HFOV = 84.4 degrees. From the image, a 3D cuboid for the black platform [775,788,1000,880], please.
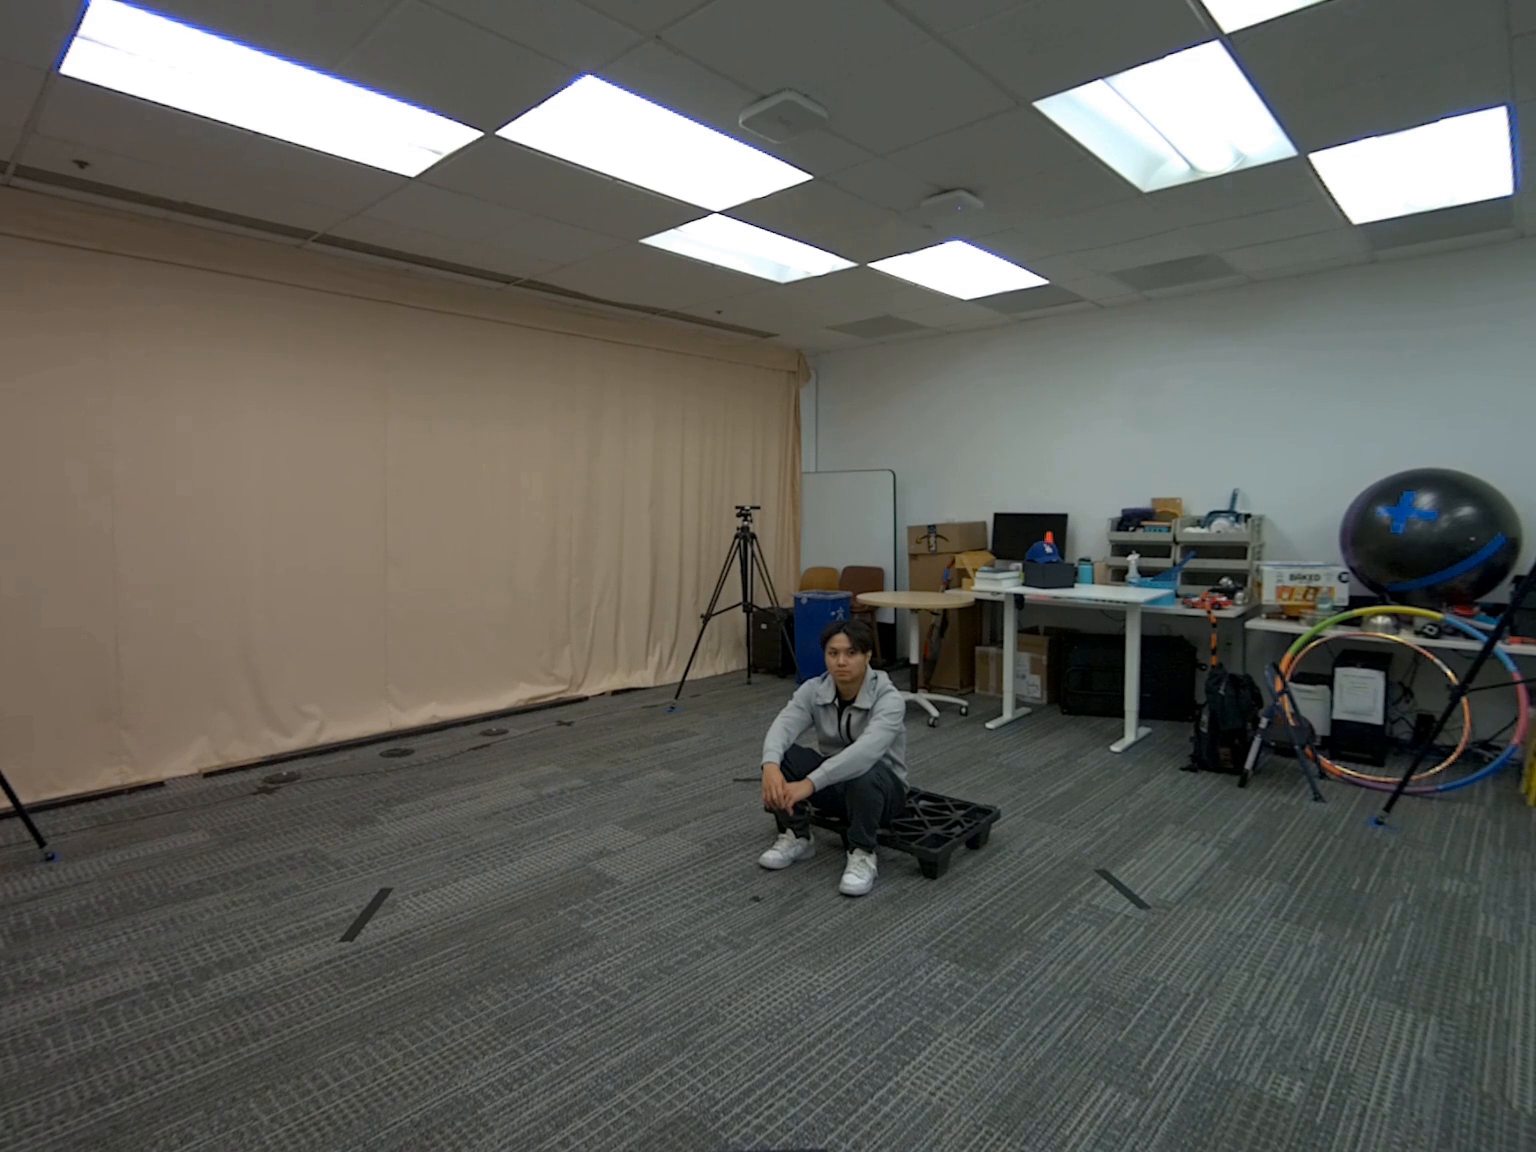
[{"bbox_3d":[0.478,1.031,3.534,0.832,0.143,0.587,4,6,39],"label":"black platform"}]
